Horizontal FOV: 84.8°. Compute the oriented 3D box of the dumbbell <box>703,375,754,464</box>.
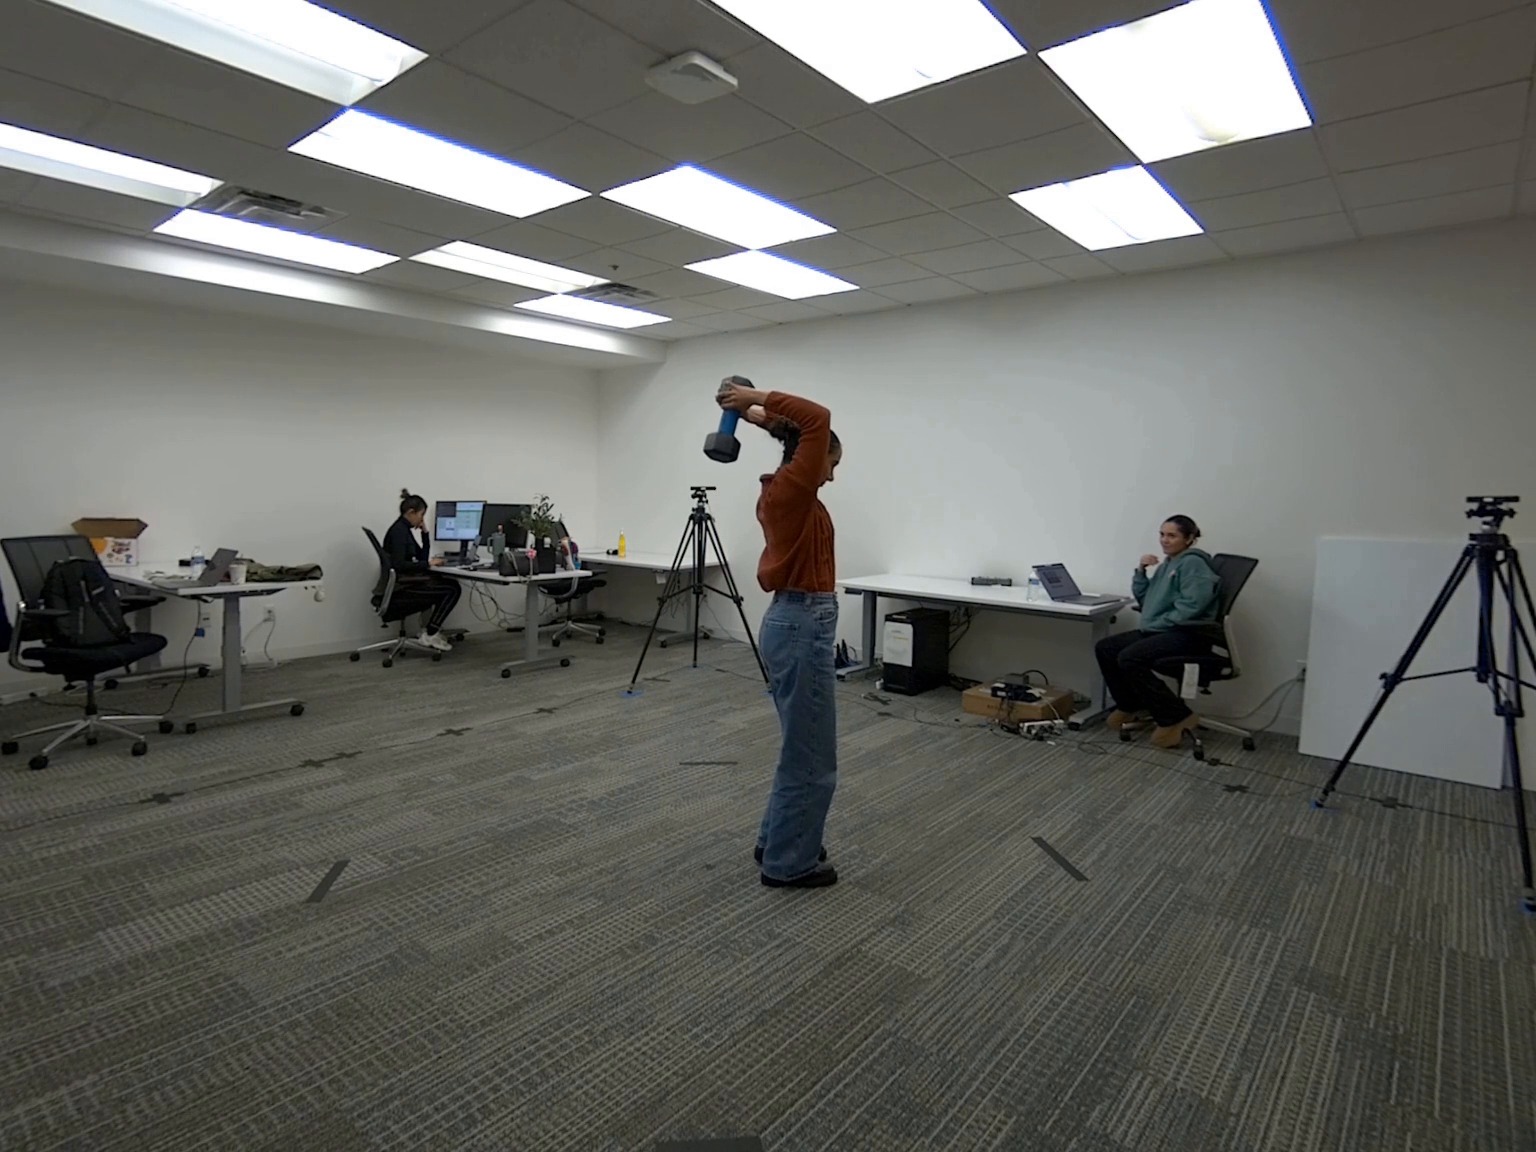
[{"bbox_3d":[-0.139,-0.547,2.948,0.122,0.295,0.108,21,-10,-4],"label":"dumbbell"}]
